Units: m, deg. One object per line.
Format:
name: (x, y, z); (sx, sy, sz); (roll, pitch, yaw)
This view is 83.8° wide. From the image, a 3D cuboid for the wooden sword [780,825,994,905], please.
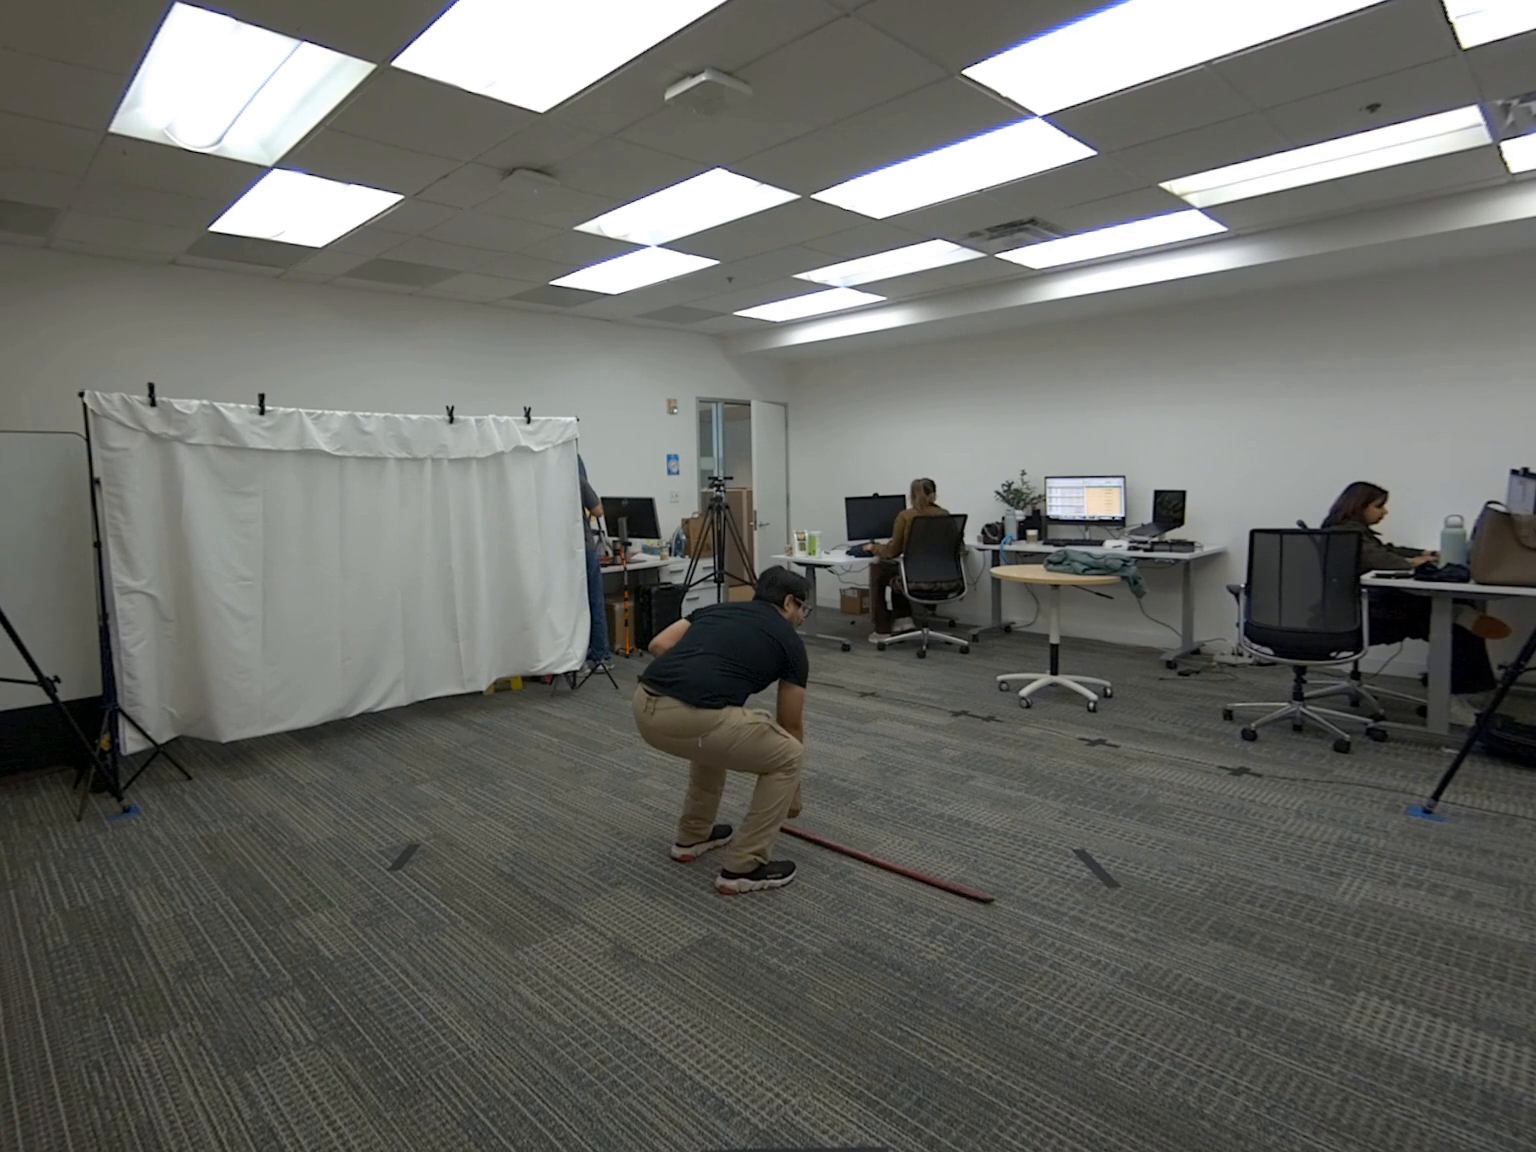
wooden sword: (0.325, 1.005, 3.117); (1.057, 0.024, 0.050); (5, 5, 43)
